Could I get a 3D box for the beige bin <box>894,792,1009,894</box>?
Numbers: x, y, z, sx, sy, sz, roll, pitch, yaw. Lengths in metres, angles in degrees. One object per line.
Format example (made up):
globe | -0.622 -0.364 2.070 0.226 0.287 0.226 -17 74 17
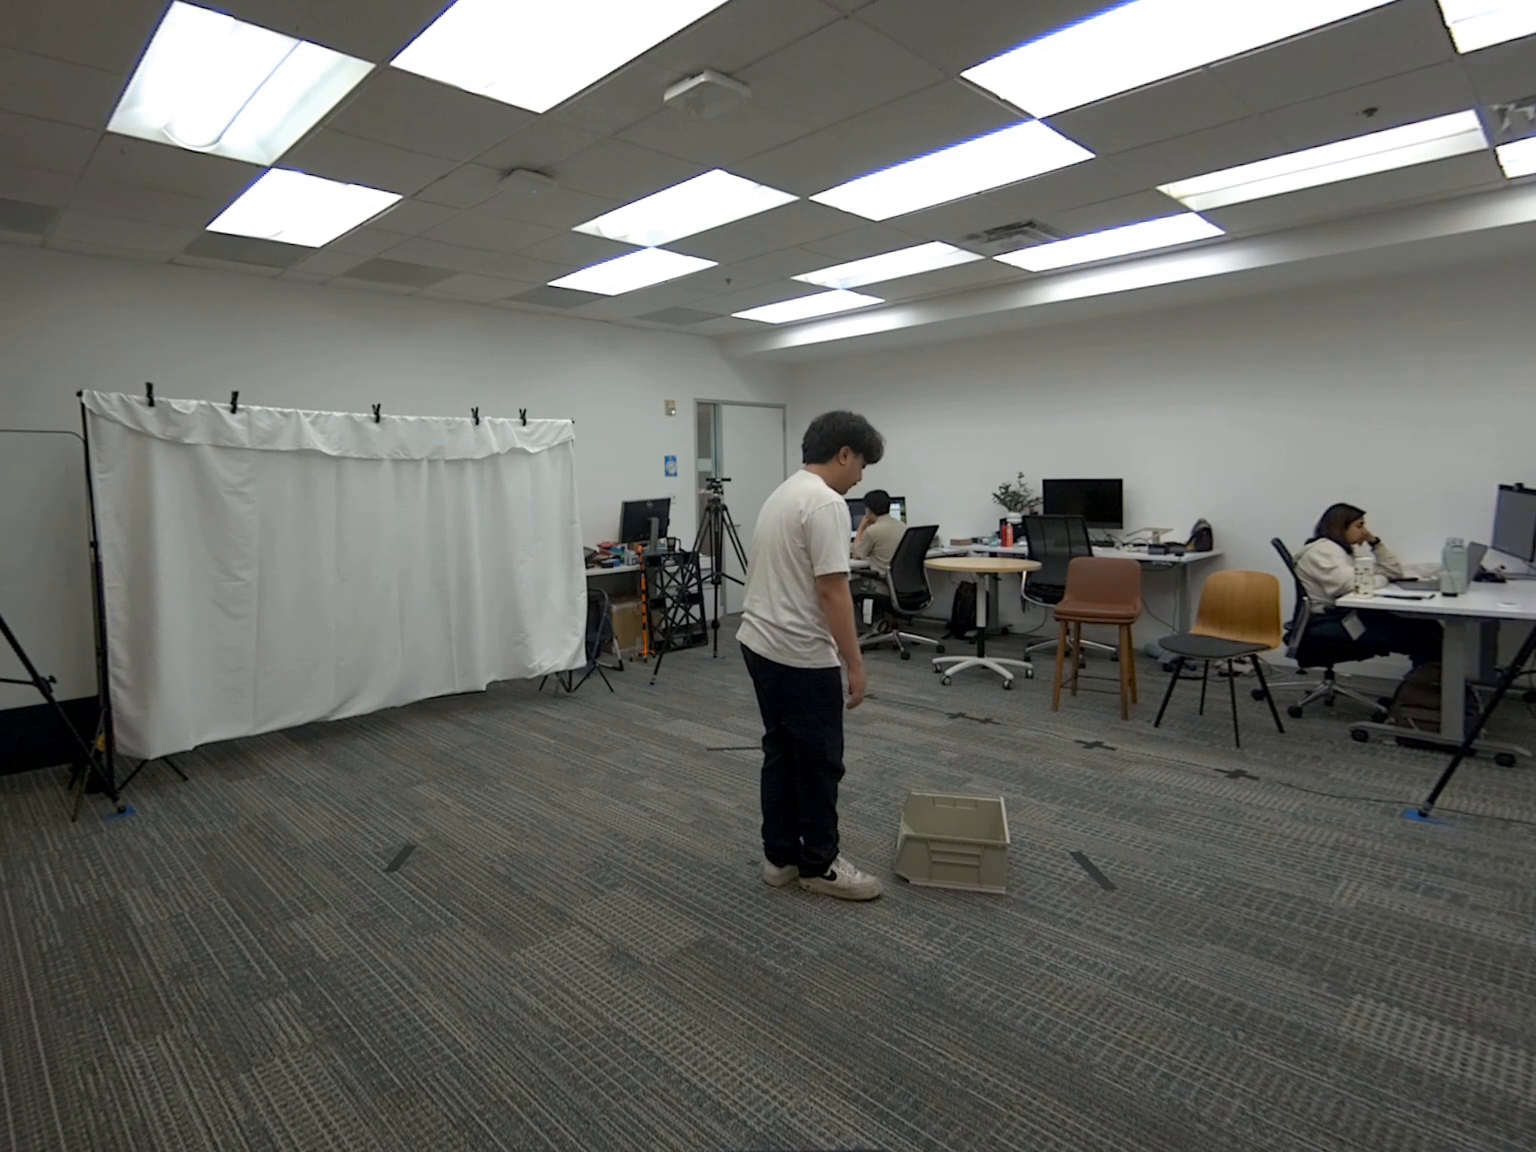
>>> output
beige bin | 0.663 0.944 3.078 0.382 0.188 0.418 1 6 13
